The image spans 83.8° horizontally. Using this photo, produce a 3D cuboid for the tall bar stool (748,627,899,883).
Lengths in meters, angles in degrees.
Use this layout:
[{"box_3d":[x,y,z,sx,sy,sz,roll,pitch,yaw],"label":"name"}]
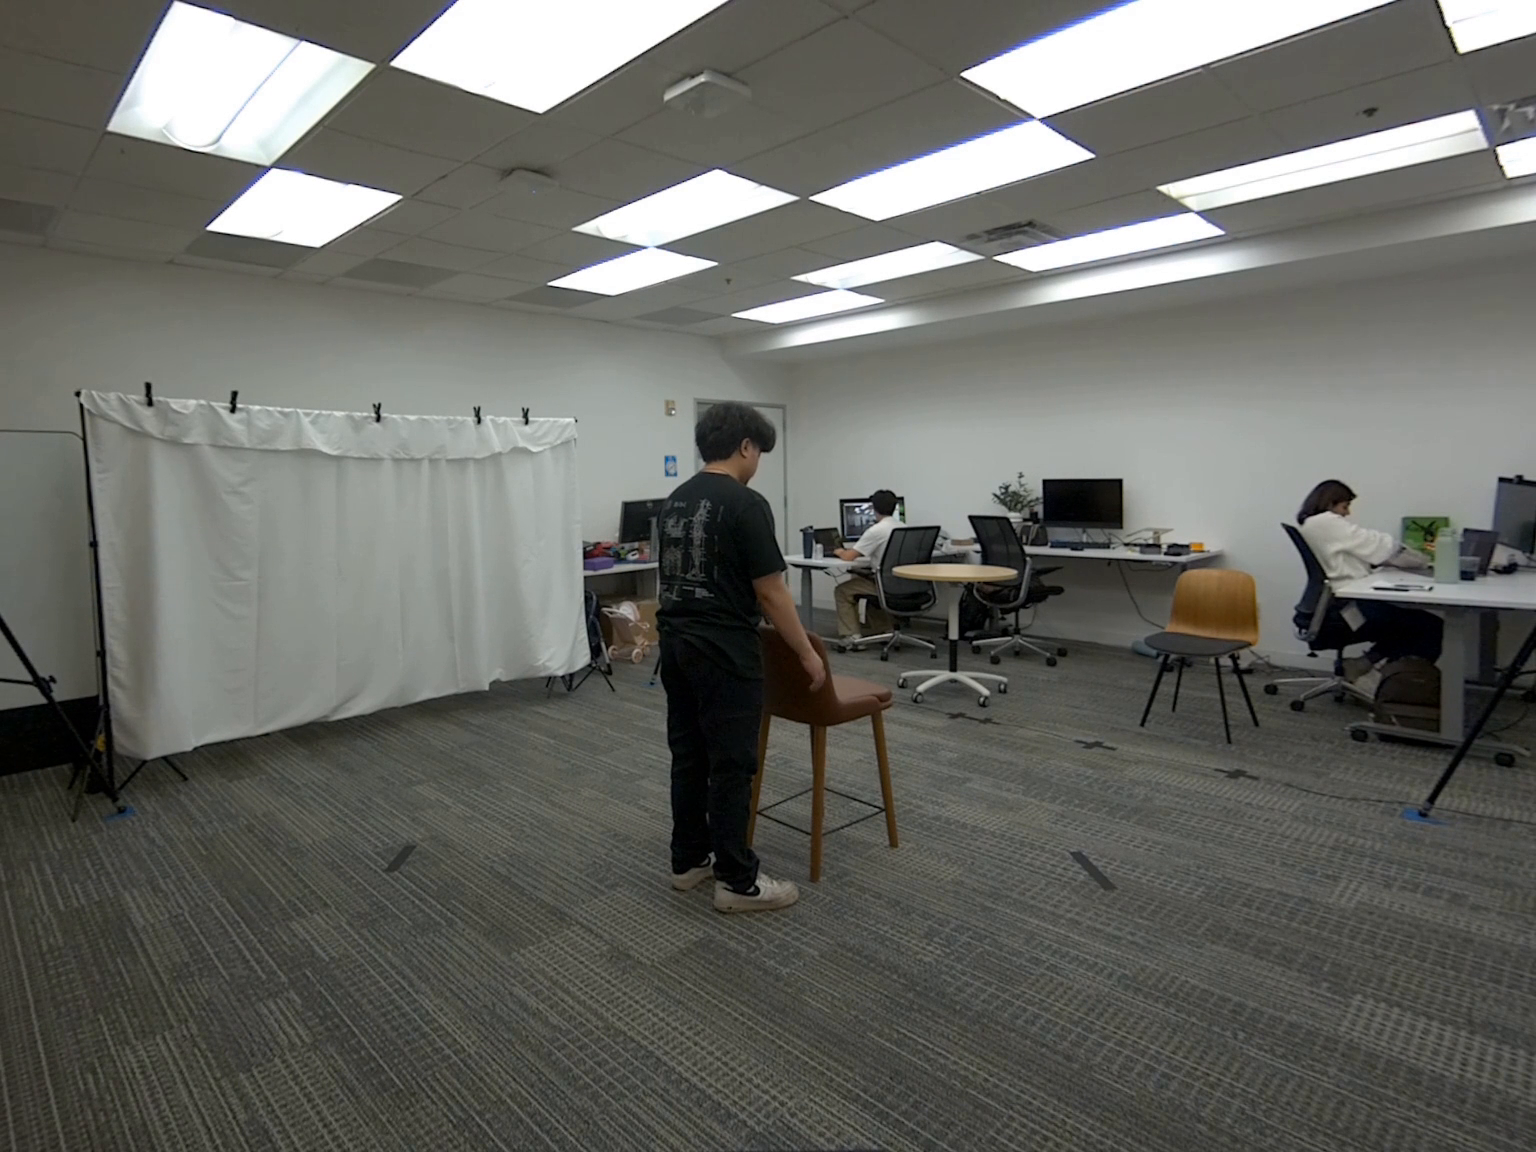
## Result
[{"box_3d":[0.181,0.591,3.201,0.456,0.885,0.470,-7,7,-42],"label":"tall bar stool"}]
